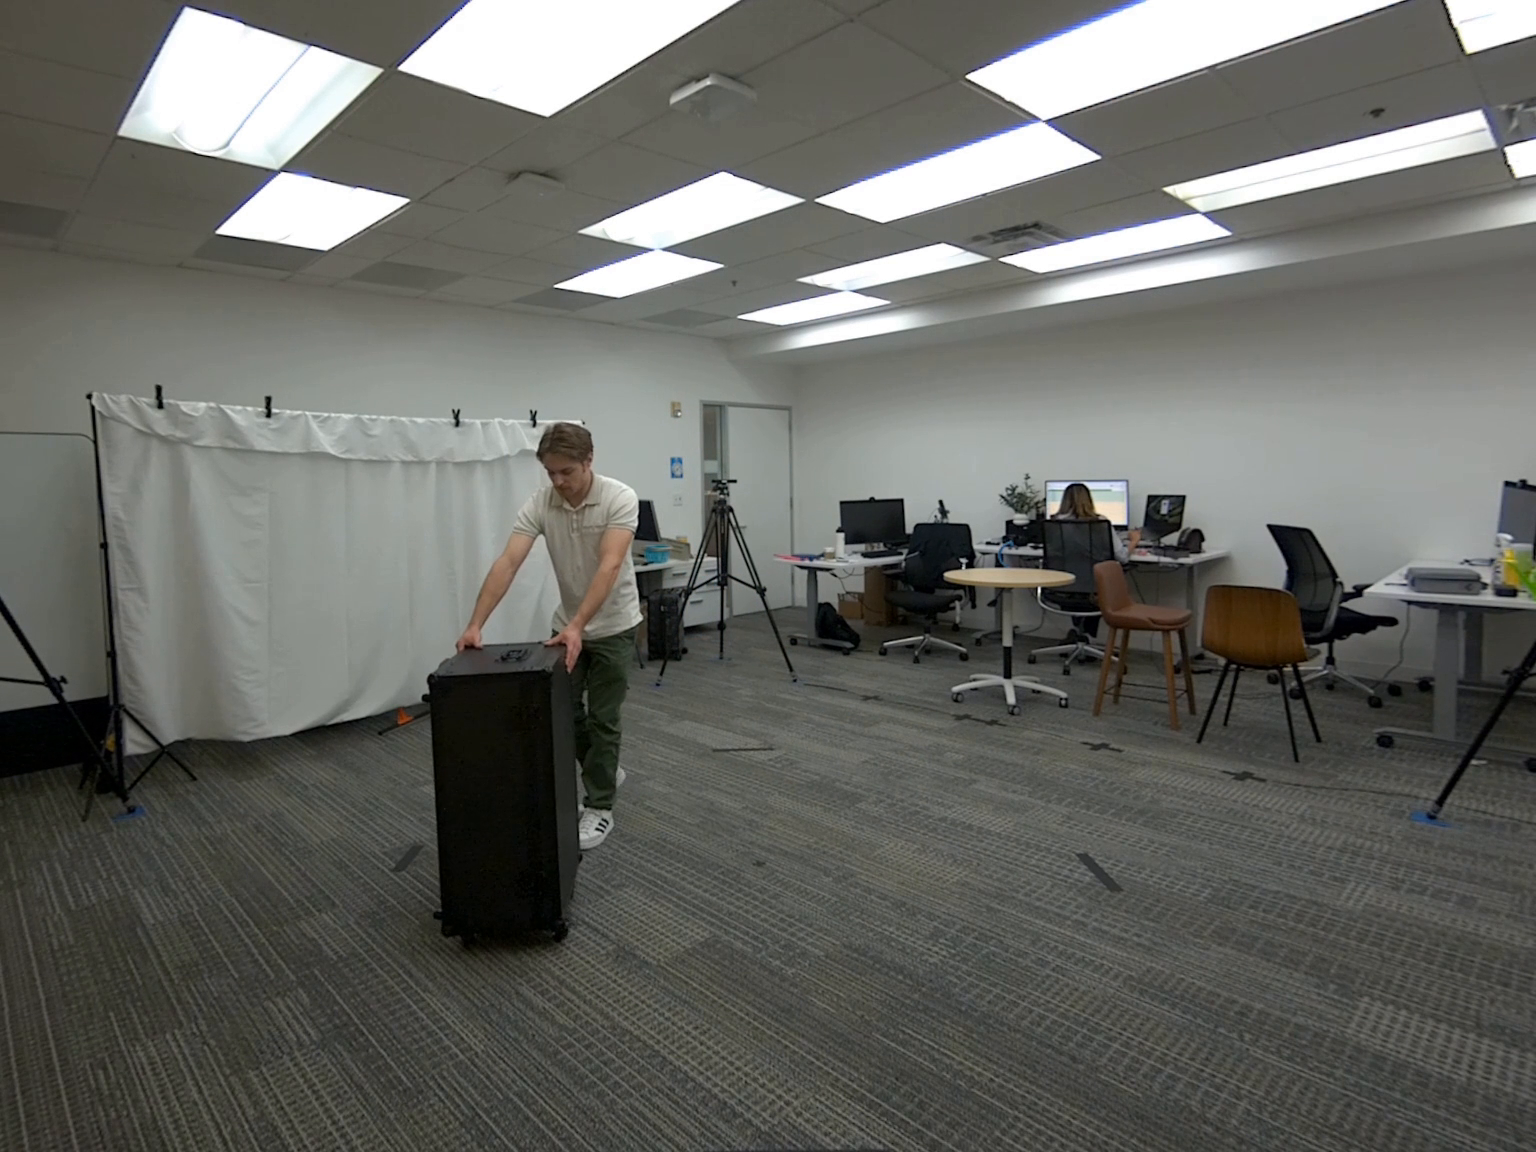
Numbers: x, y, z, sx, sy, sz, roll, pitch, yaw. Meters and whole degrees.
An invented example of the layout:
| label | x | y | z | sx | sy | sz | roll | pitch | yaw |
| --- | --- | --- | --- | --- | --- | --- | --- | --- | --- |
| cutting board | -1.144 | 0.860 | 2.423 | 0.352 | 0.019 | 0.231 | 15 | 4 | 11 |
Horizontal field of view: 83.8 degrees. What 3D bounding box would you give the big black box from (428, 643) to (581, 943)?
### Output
| label | x | y | z | sx | sy | sz | roll | pitch | yaw |
| --- | --- | --- | --- | --- | --- | --- | --- | --- | --- |
| big black box | -0.824 | 0.687 | 2.737 | 0.383 | 0.865 | 0.528 | -3 | 4 | -6 |
